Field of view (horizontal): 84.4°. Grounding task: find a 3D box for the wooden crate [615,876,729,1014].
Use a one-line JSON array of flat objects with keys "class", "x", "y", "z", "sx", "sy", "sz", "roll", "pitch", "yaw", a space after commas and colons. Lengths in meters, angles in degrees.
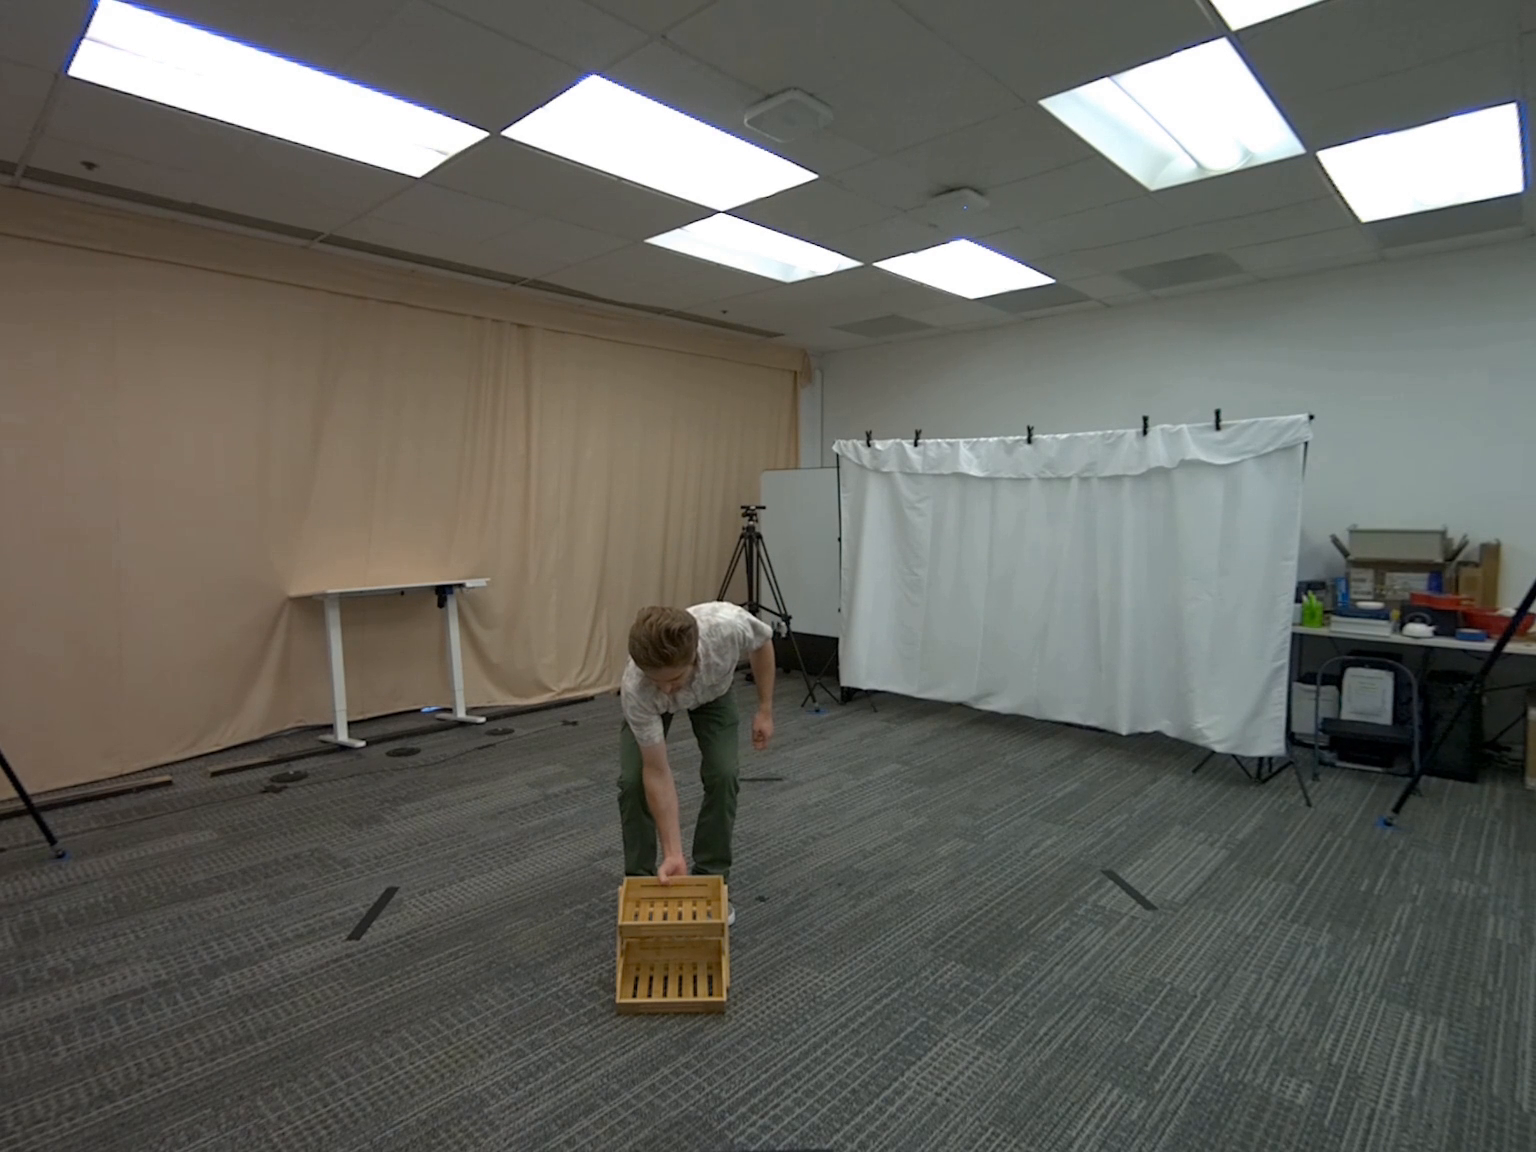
[{"class": "wooden crate", "x": -0.278, "y": 1.055, "z": 2.433, "sx": 0.323, "sy": 0.273, "sz": 0.303, "roll": 0, "pitch": 3, "yaw": -3}]
